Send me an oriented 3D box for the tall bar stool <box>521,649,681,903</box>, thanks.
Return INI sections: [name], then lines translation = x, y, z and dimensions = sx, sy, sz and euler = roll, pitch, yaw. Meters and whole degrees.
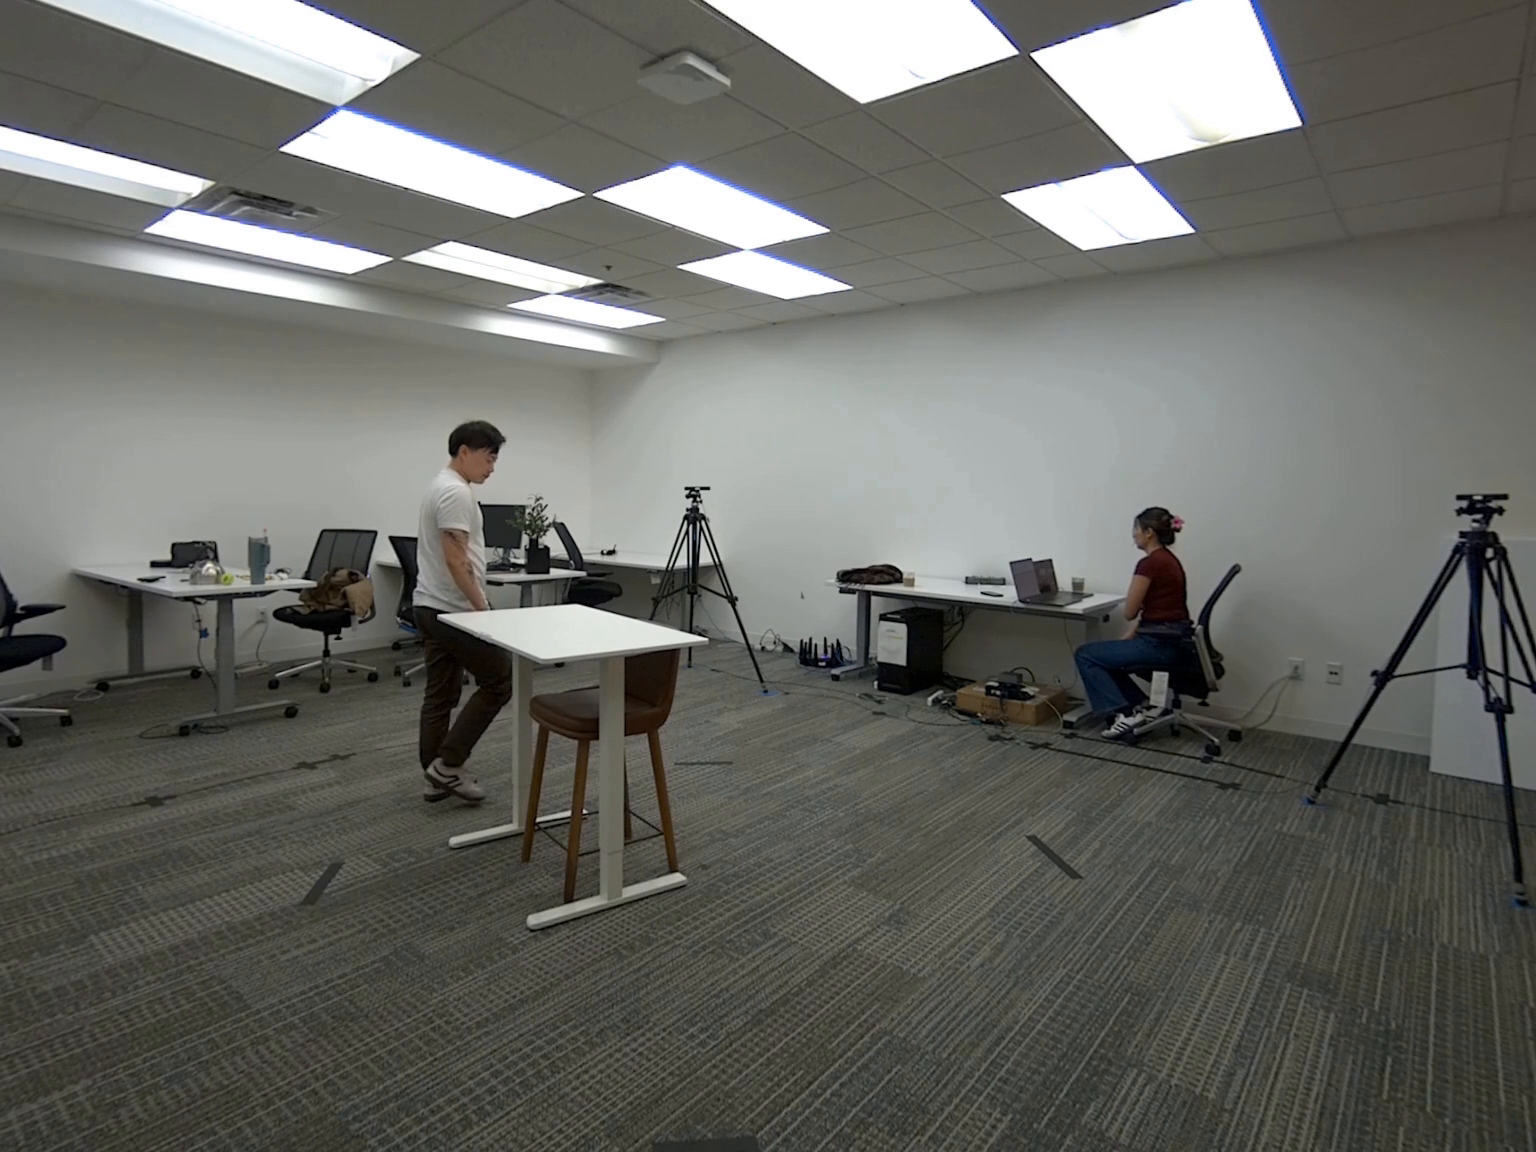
[tall bar stool]
translation = -0.611, 0.629, 3.092
dimensions = 0.453, 0.889, 0.471
euler = 1, 2, -36
